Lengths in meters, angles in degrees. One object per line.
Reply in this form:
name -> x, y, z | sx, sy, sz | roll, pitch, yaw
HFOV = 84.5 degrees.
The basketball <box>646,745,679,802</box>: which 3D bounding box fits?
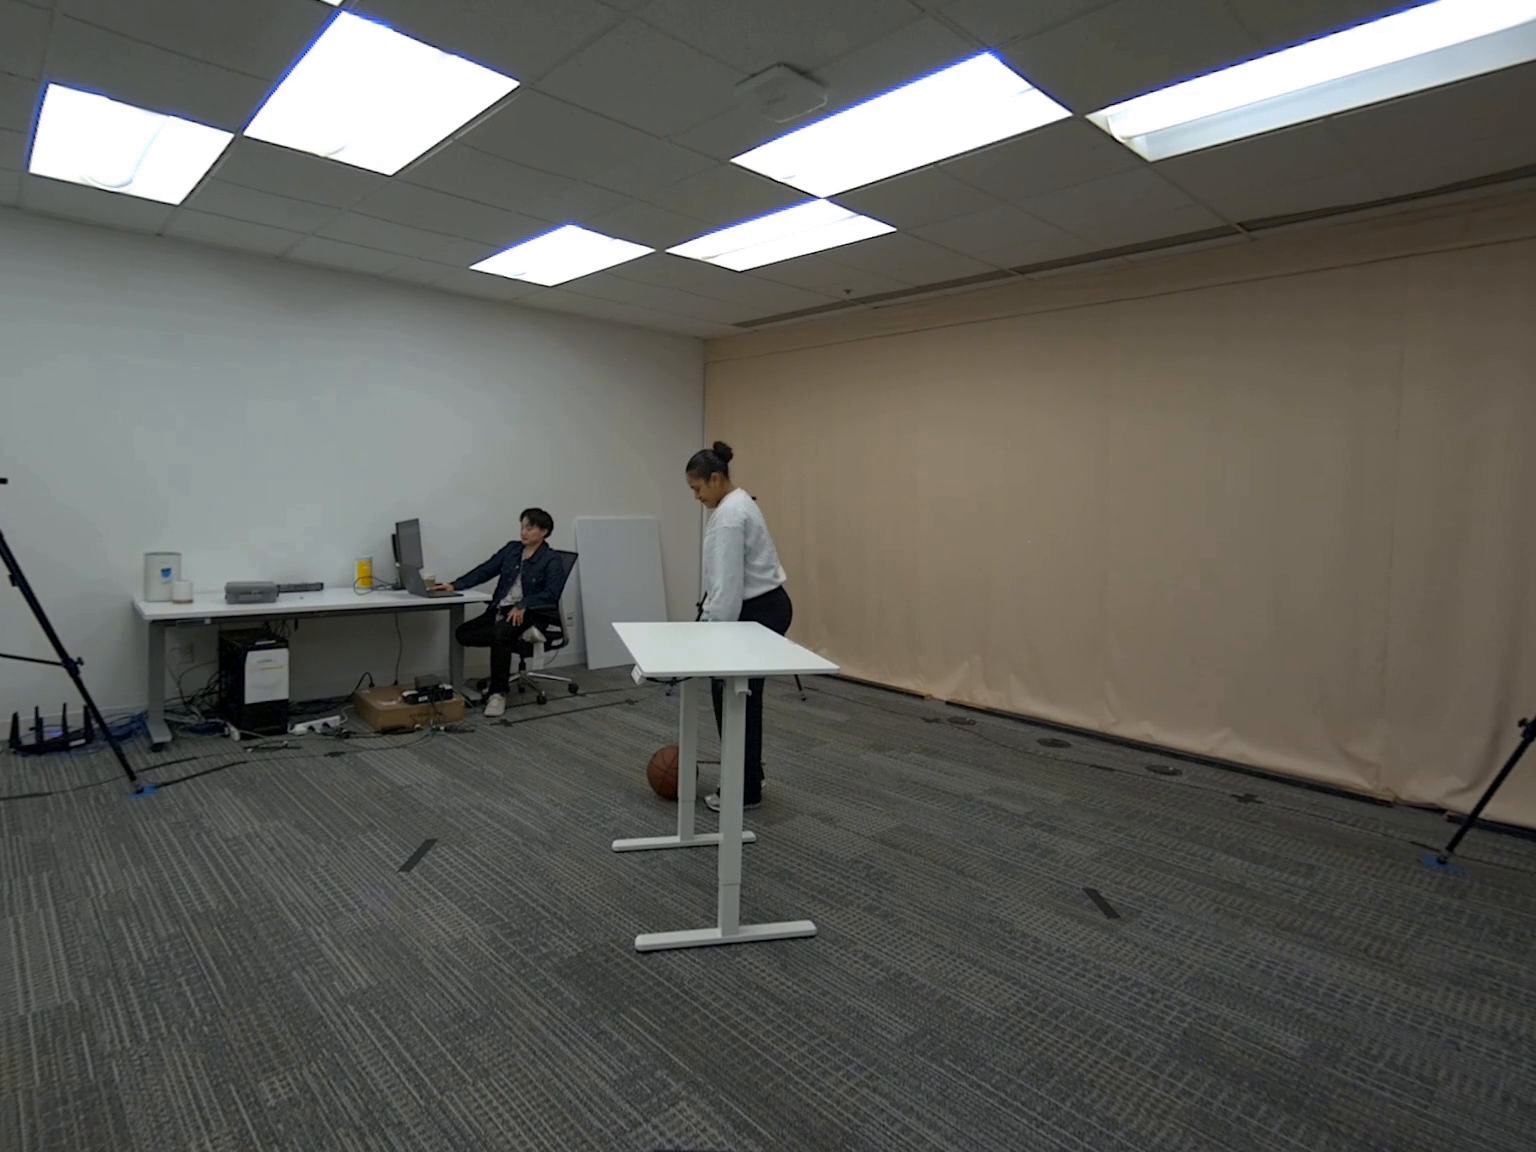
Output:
basketball -> -0.448, 0.900, 3.907 | 0.236, 0.235, 0.237 | 1, 4, -1
